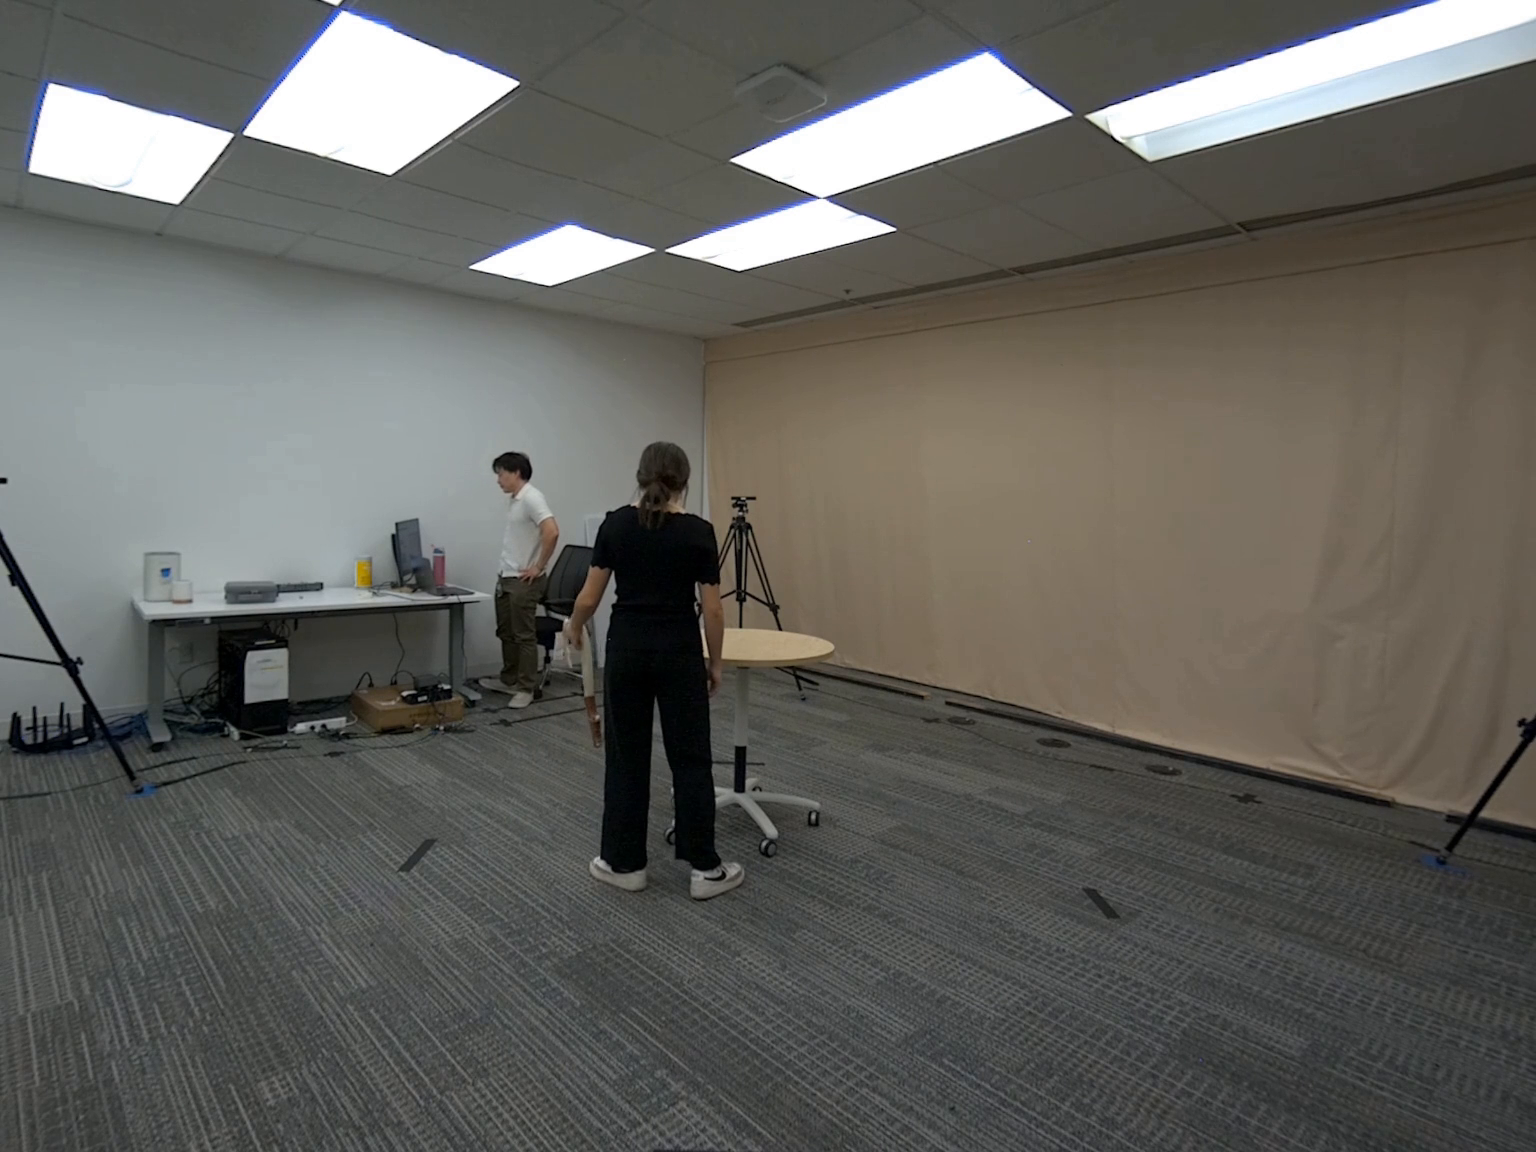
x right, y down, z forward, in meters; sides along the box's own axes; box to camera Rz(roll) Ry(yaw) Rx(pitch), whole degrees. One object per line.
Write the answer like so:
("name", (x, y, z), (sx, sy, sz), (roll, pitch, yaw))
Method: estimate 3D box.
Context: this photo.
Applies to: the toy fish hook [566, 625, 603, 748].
("toy fish hook", (-0.731, 0.420, 3.291), (0.047, 0.508, 0.228), (-8, -4, -32))
